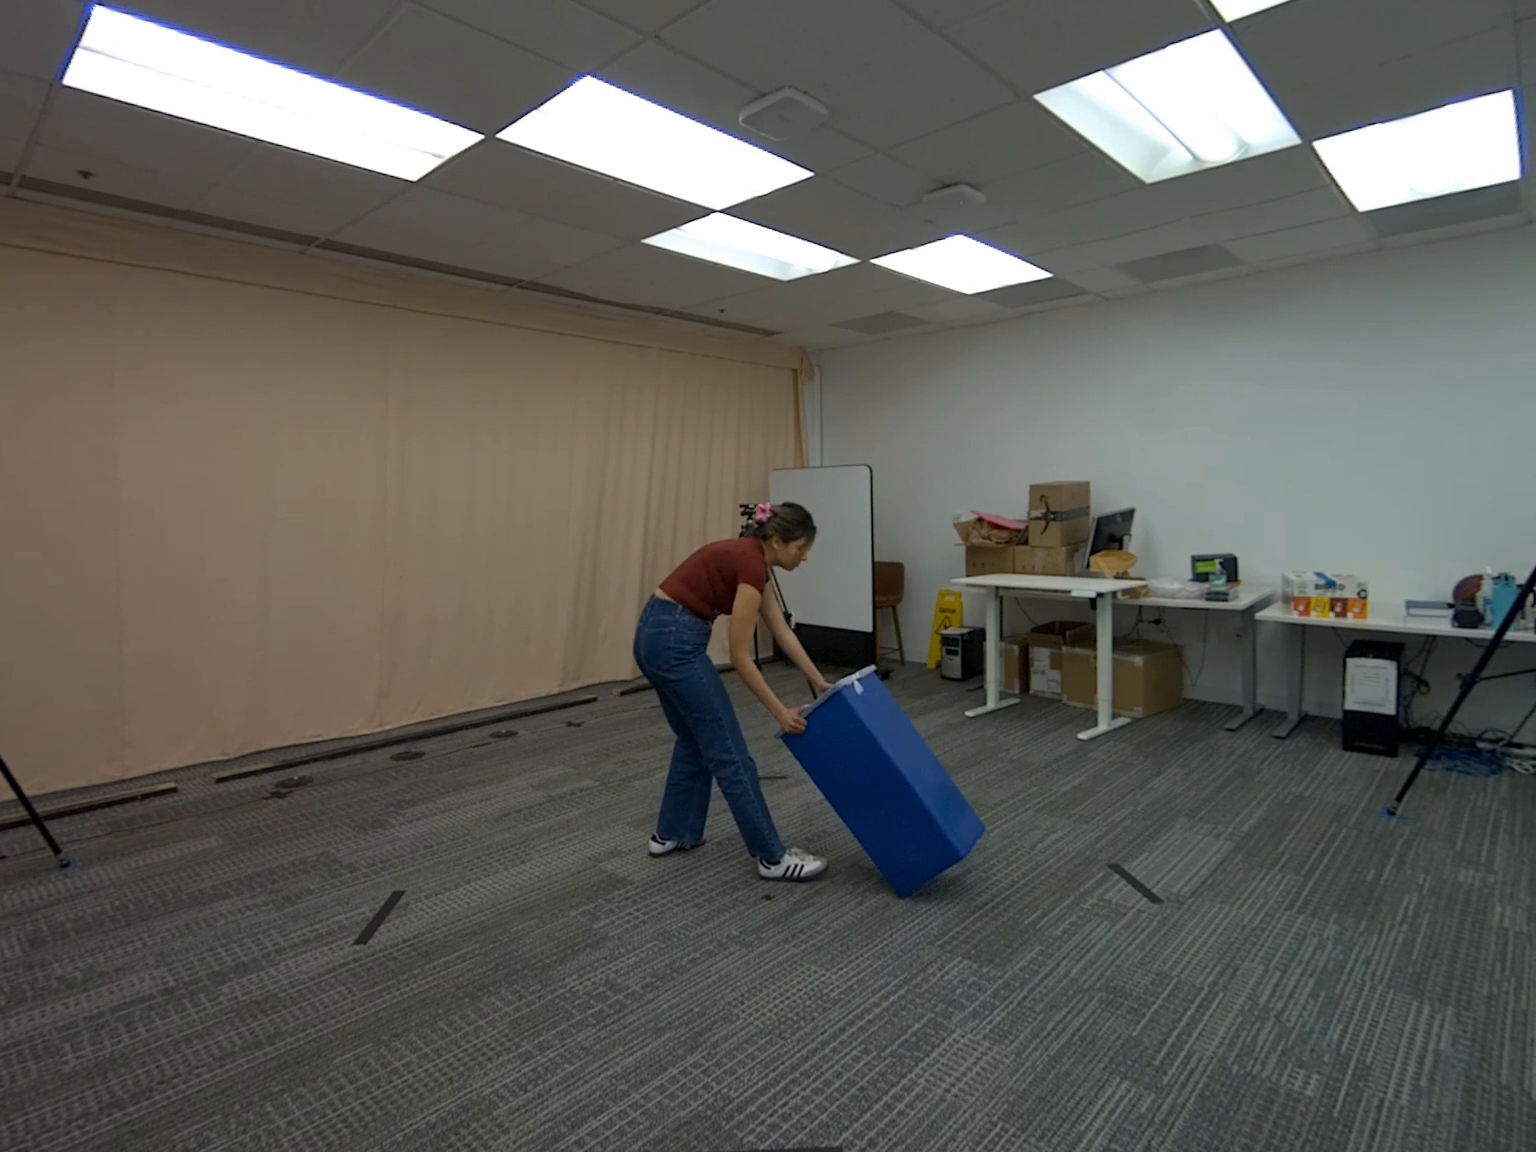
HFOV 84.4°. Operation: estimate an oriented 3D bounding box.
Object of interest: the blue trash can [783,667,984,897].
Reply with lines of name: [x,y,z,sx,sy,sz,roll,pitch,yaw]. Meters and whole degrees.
blue trash can: [0.416,0.752,3.124,0.377,0.727,0.368,-43,-18,24]
